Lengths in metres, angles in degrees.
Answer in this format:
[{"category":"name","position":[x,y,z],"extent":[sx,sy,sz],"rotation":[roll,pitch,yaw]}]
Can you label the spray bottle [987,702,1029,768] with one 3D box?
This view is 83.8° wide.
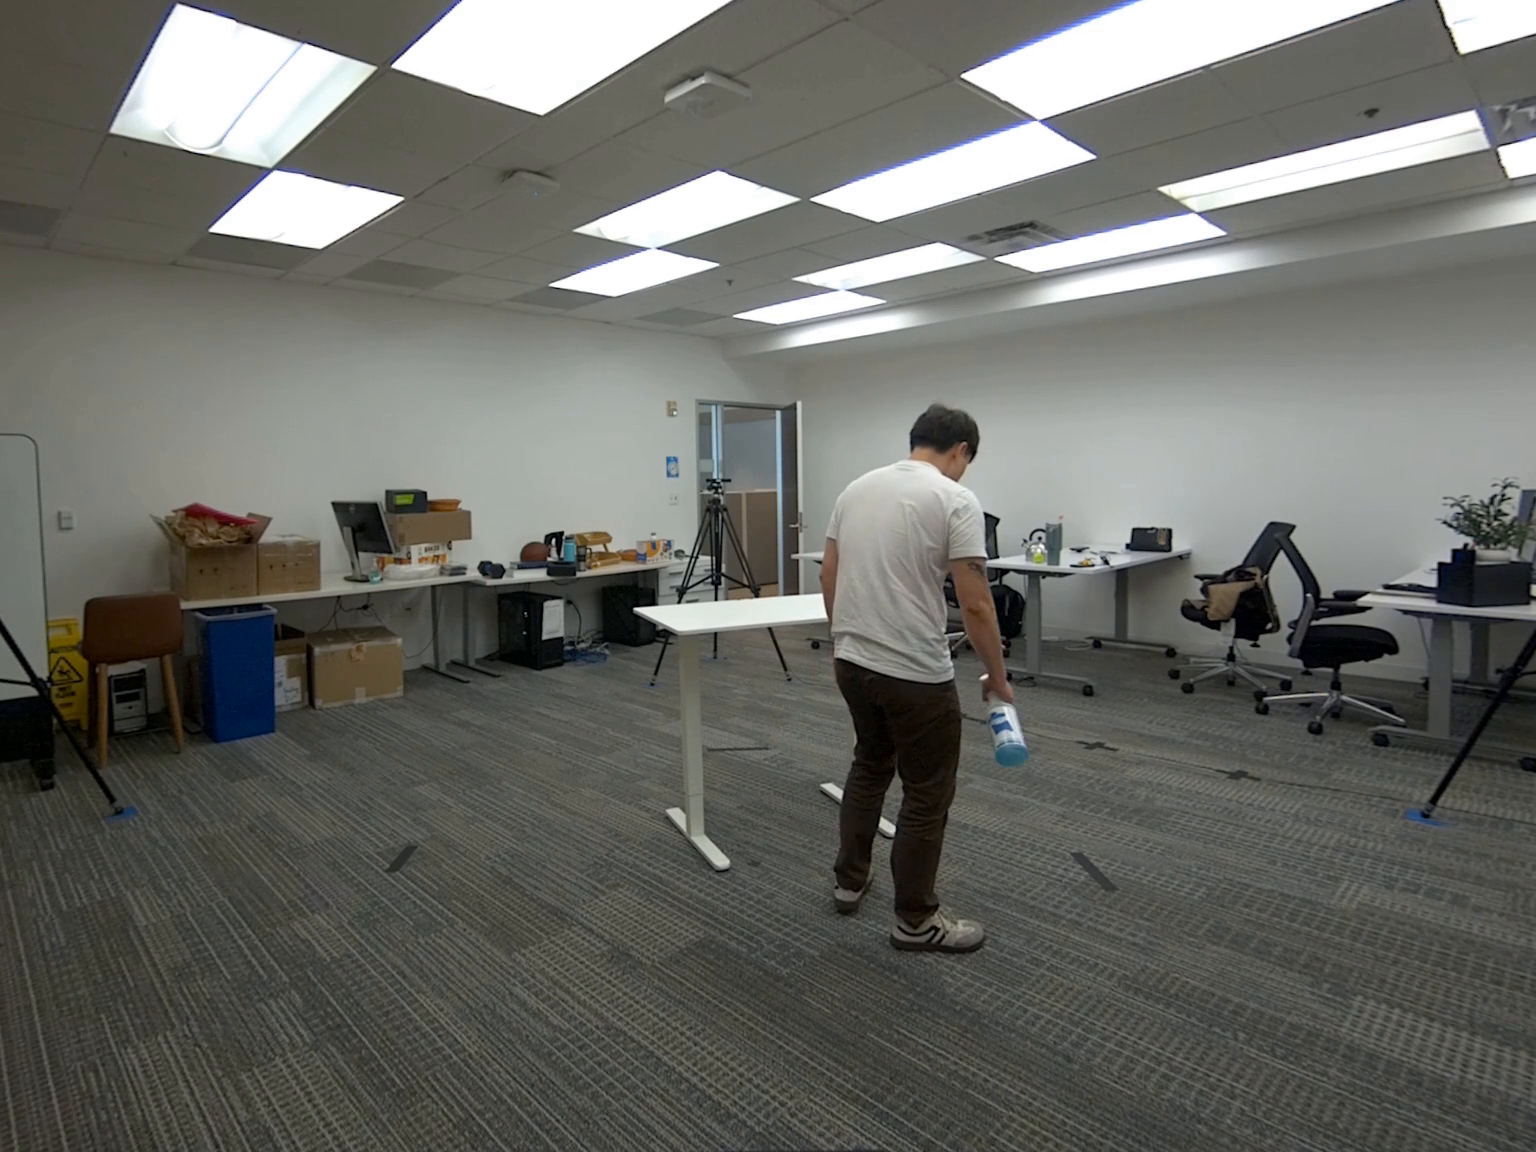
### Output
[{"category":"spray bottle","position":[0.644,0.404,2.415],"extent":[0.090,0.084,0.305],"rotation":[-3,40,5]}]
